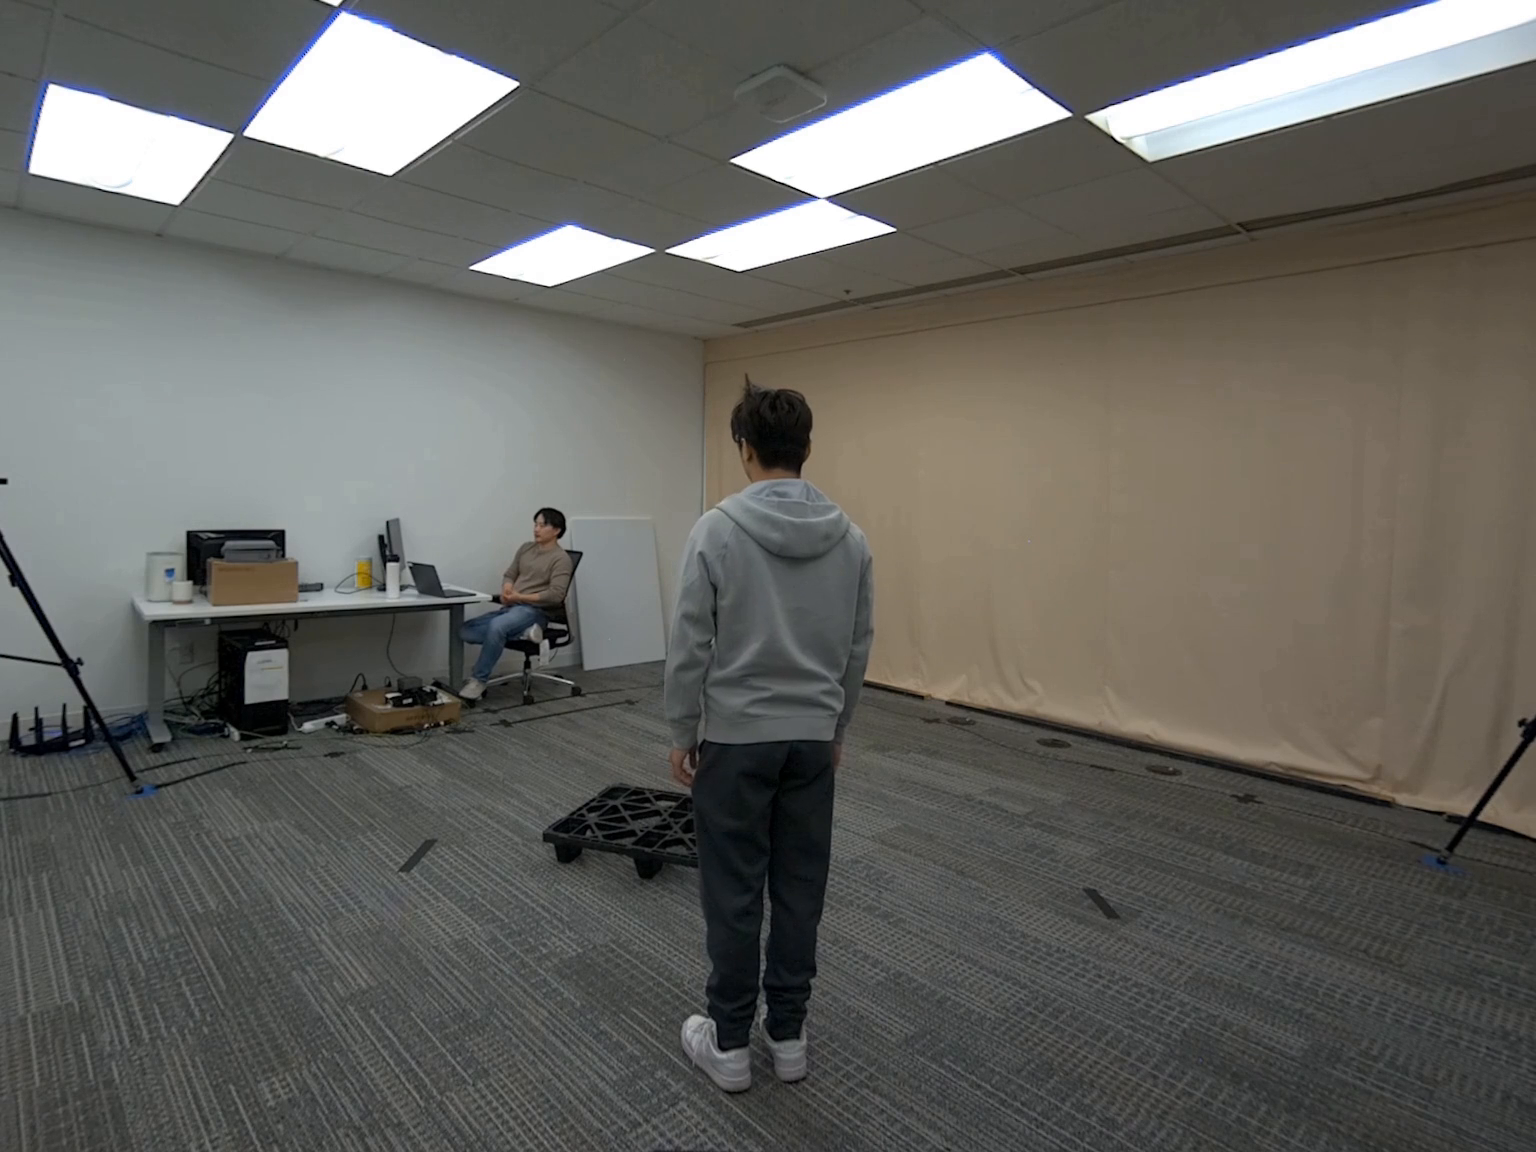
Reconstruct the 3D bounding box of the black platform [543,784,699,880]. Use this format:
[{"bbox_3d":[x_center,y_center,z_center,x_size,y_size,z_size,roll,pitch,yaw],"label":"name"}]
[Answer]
[{"bbox_3d":[-0.384,1.016,3.279,0.818,0.143,0.598,2,6,18],"label":"black platform"}]
